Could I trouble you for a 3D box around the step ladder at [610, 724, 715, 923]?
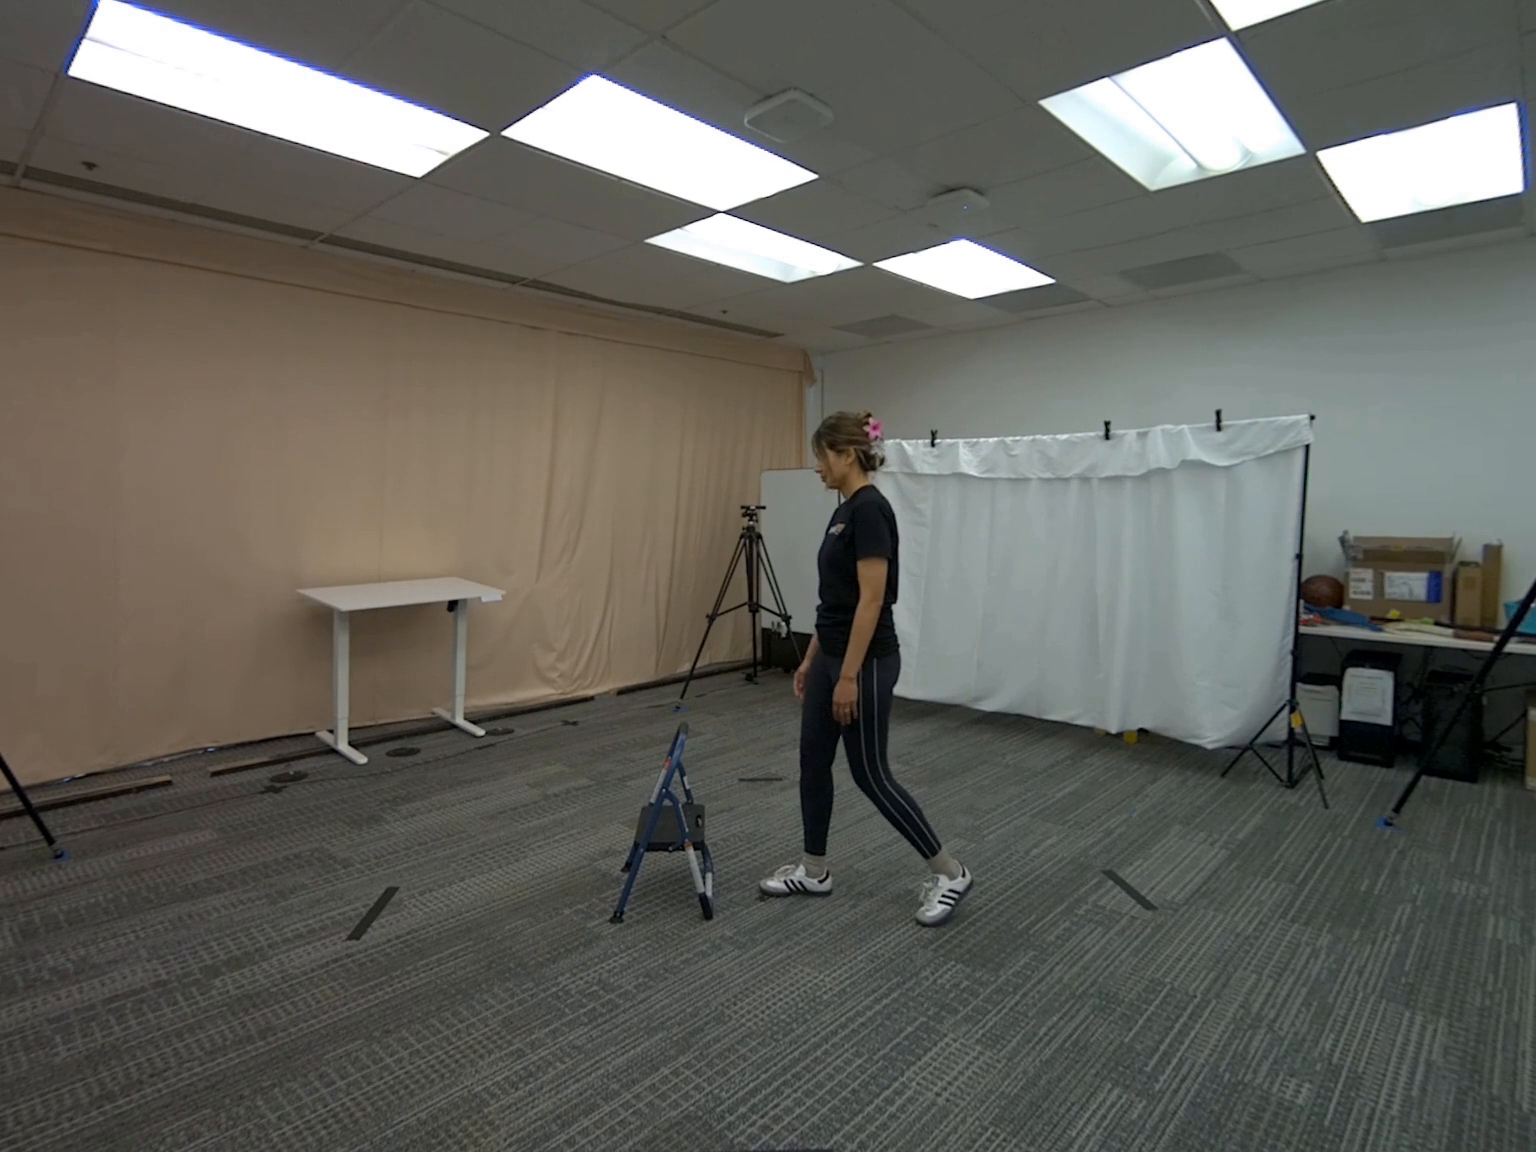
[{"bbox_3d":[-0.373,0.845,3.017,0.349,0.604,0.432,-1,4,-3],"label":"step ladder"}]
